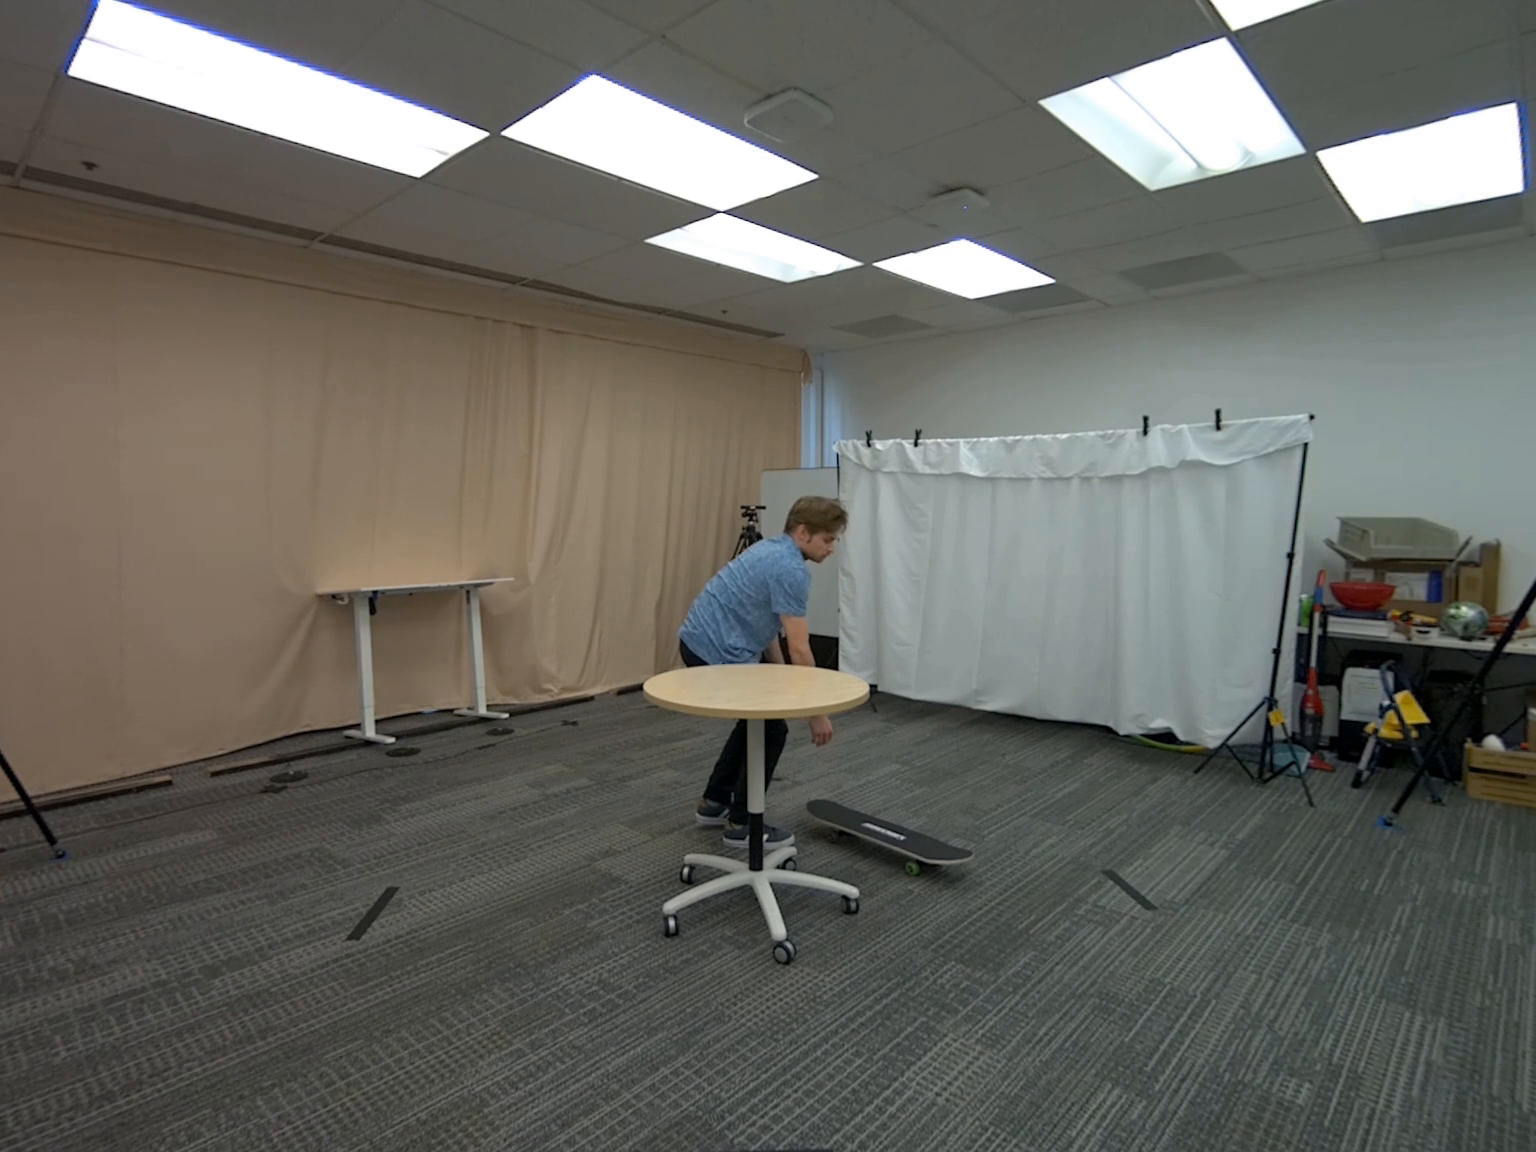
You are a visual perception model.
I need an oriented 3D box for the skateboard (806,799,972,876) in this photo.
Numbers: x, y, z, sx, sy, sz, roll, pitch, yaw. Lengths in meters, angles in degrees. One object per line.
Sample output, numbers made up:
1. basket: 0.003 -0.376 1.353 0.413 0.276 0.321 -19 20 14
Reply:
1. skateboard: 0.467 1.054 3.378 0.187 0.110 0.812 -4 6 -41
